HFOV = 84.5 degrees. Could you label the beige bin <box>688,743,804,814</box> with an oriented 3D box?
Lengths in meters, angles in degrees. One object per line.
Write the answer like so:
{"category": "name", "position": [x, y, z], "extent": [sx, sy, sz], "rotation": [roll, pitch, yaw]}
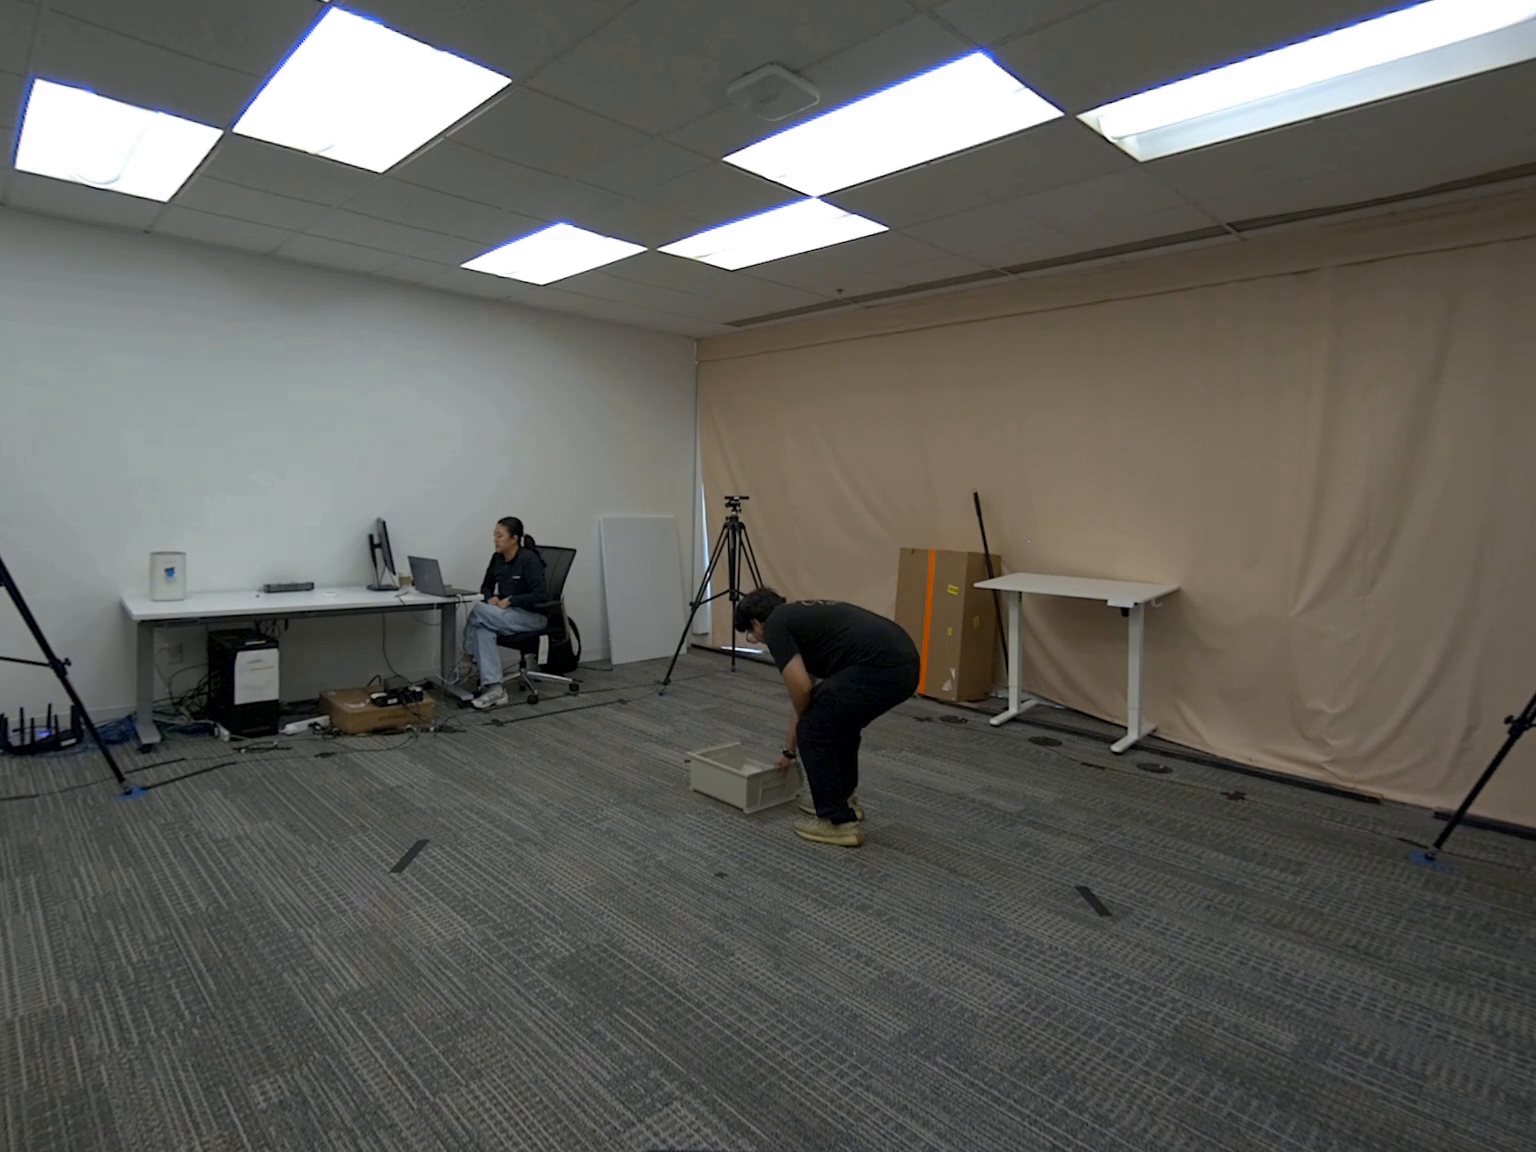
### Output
{"category": "beige bin", "position": [-0.114, 0.939, 3.983], "extent": [0.369, 0.188, 0.433], "rotation": [-5, 8, -43]}
